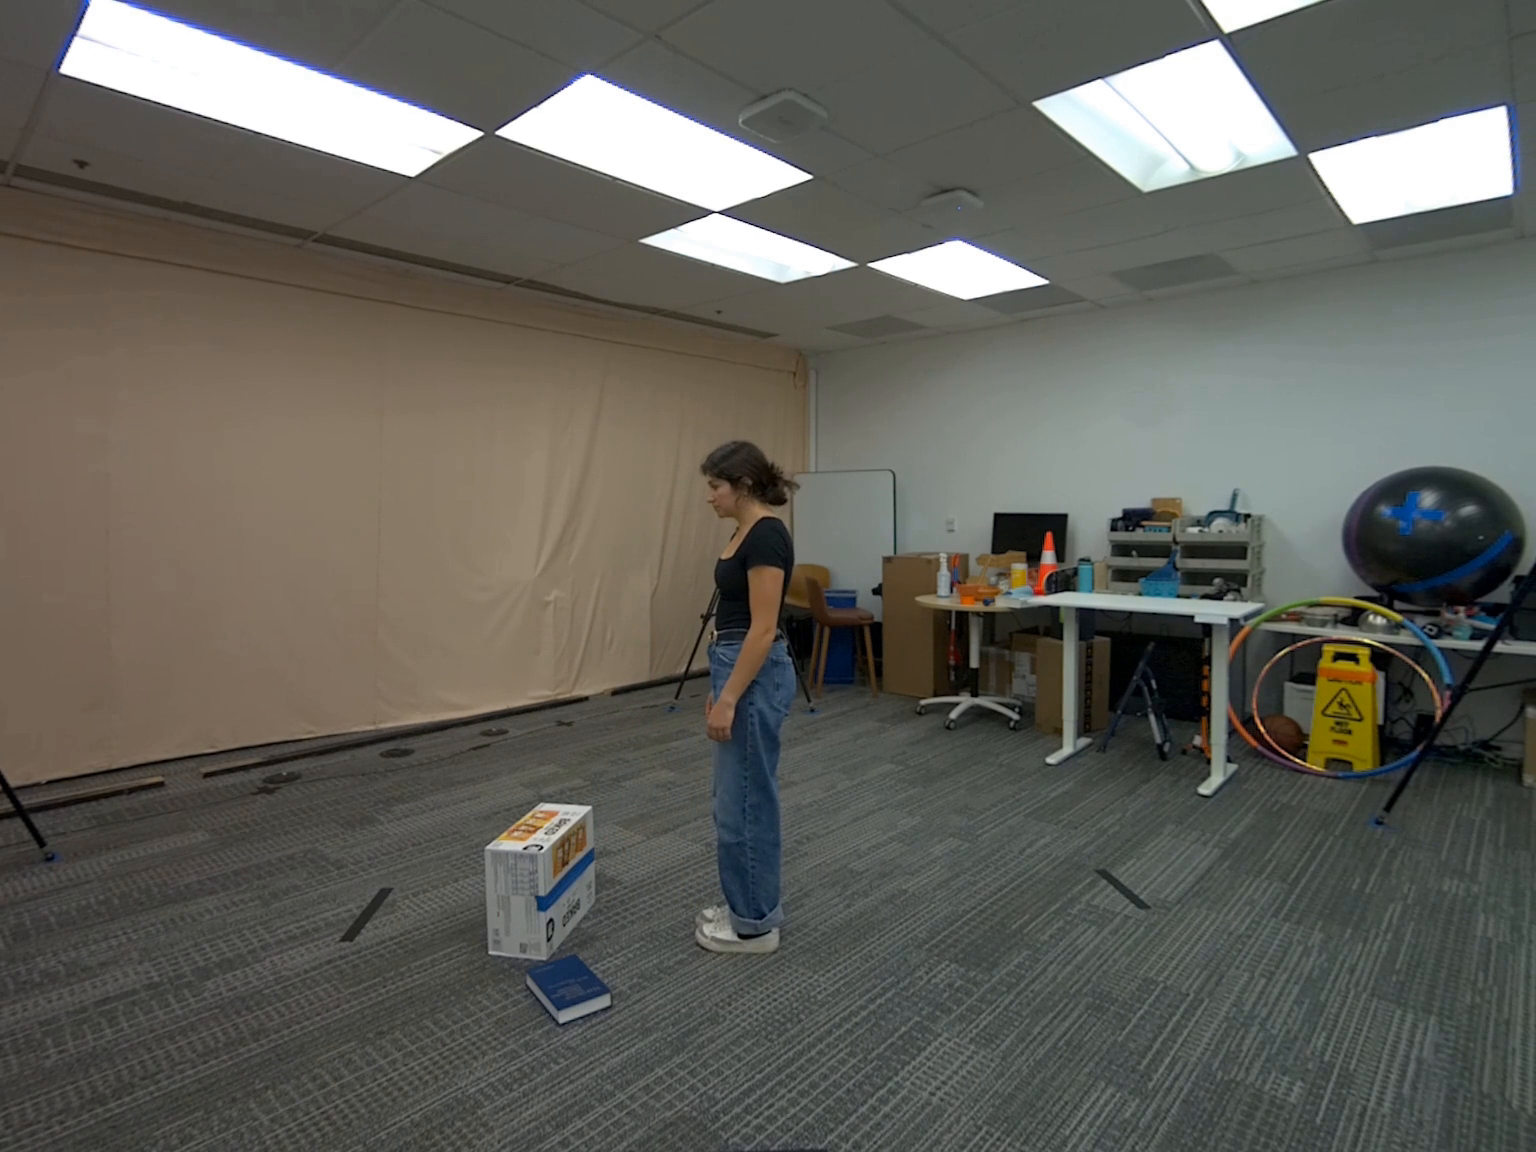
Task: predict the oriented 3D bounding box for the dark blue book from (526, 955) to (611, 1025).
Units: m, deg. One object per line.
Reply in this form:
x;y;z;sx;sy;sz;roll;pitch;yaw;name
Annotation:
-0.573;1.180;2.389;0.159;0.045;0.253;-4;5;-36;dark blue book
